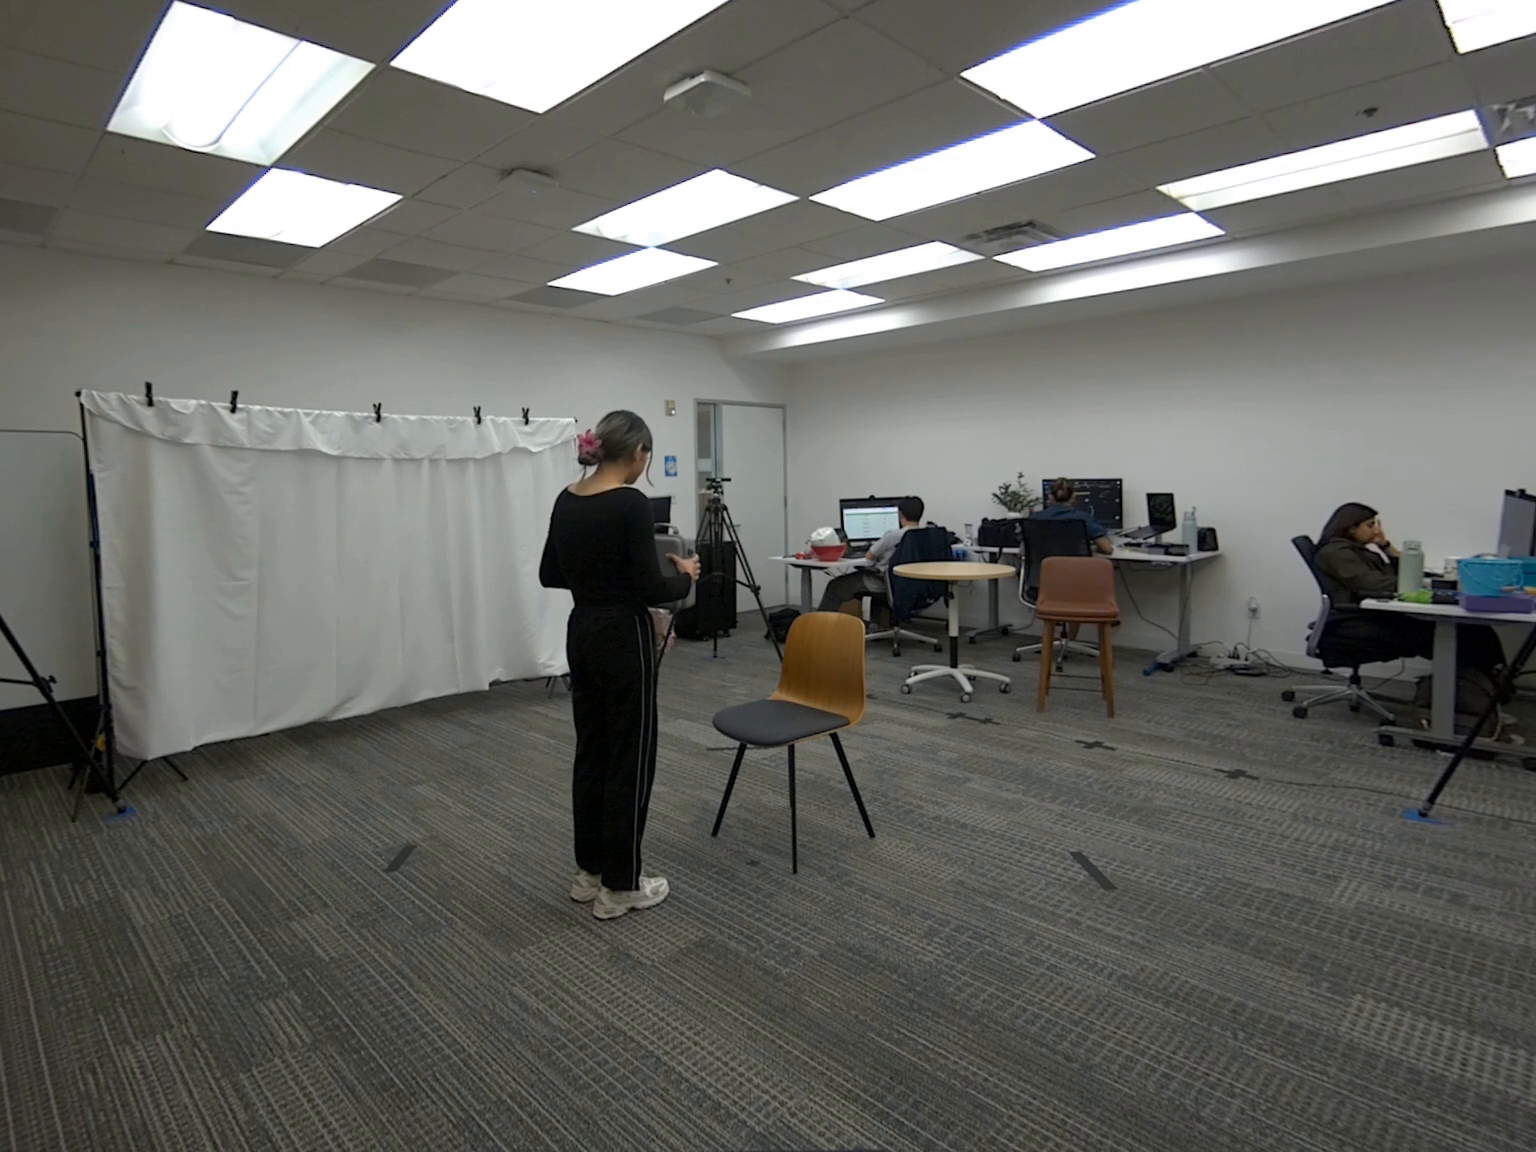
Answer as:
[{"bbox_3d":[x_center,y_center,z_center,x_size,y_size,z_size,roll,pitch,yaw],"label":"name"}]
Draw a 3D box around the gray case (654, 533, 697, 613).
[{"bbox_3d":[-0.378,-0.022,2.984,0.265,0.260,0.101,4,2,40],"label":"gray case"}]
